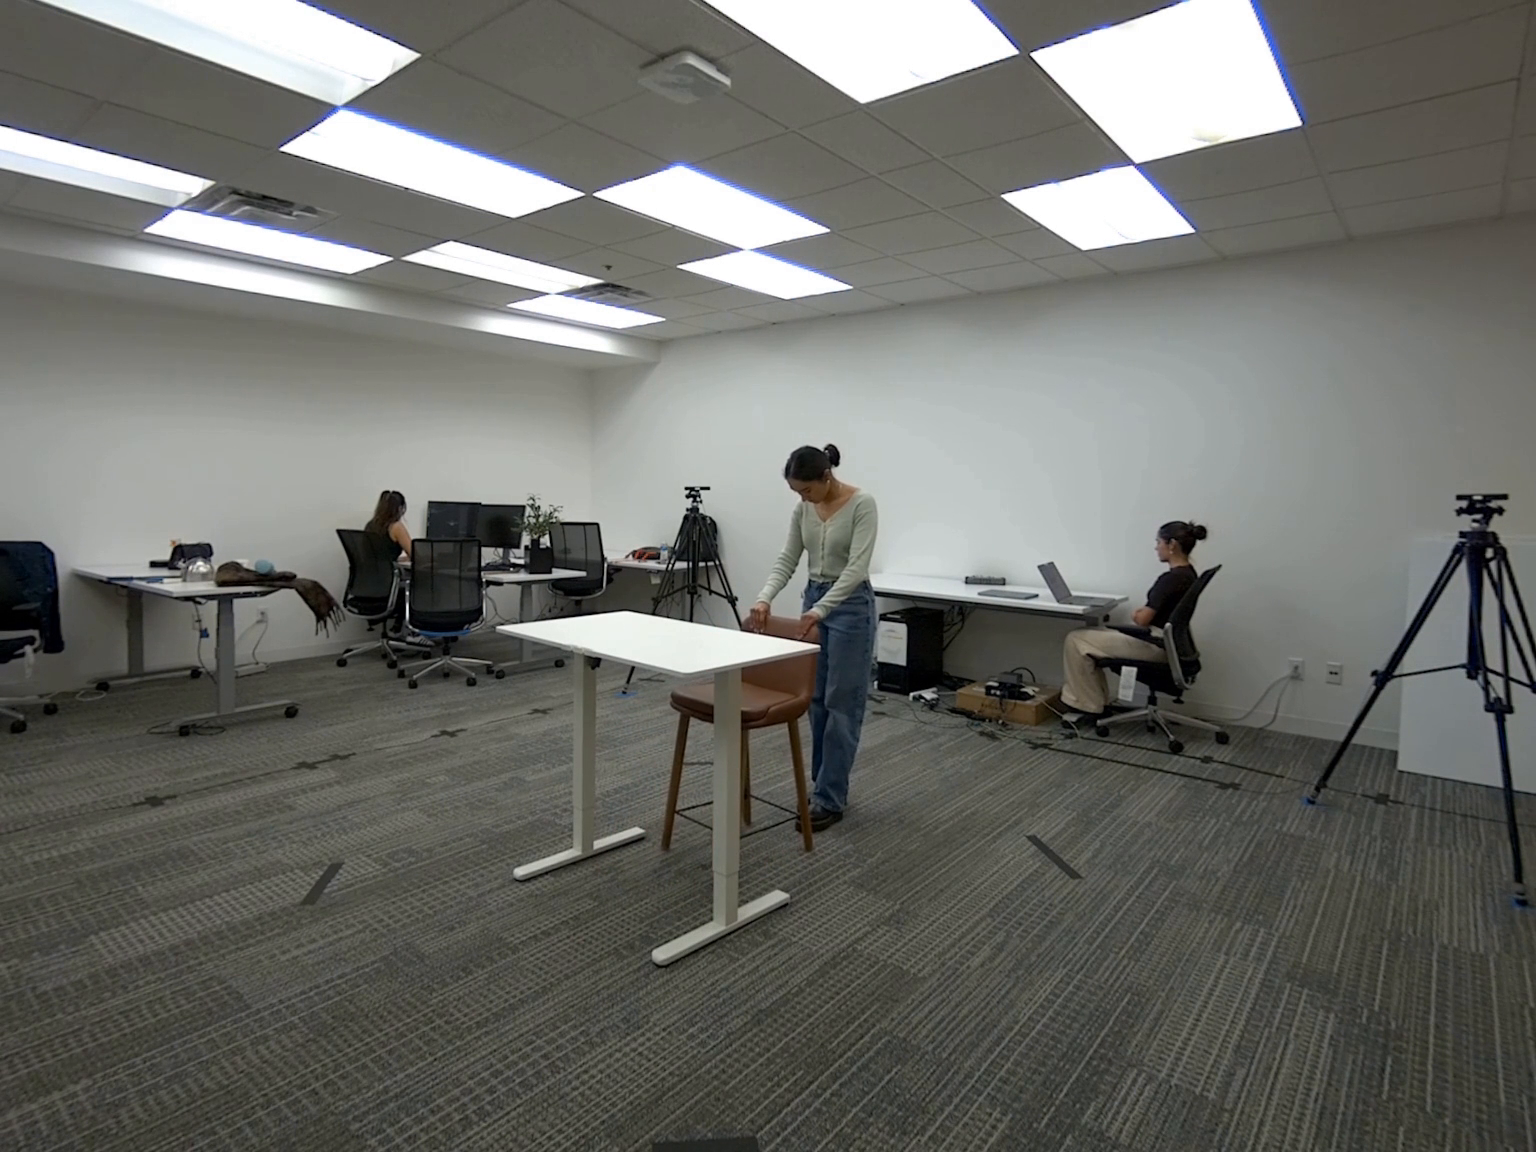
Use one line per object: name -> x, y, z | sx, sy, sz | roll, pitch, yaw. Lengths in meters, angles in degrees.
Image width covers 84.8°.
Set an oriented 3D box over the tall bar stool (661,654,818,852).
tall bar stool -> -0.103, 0.611, 3.255 | 0.452, 0.889, 0.472 | 1, 2, -44
